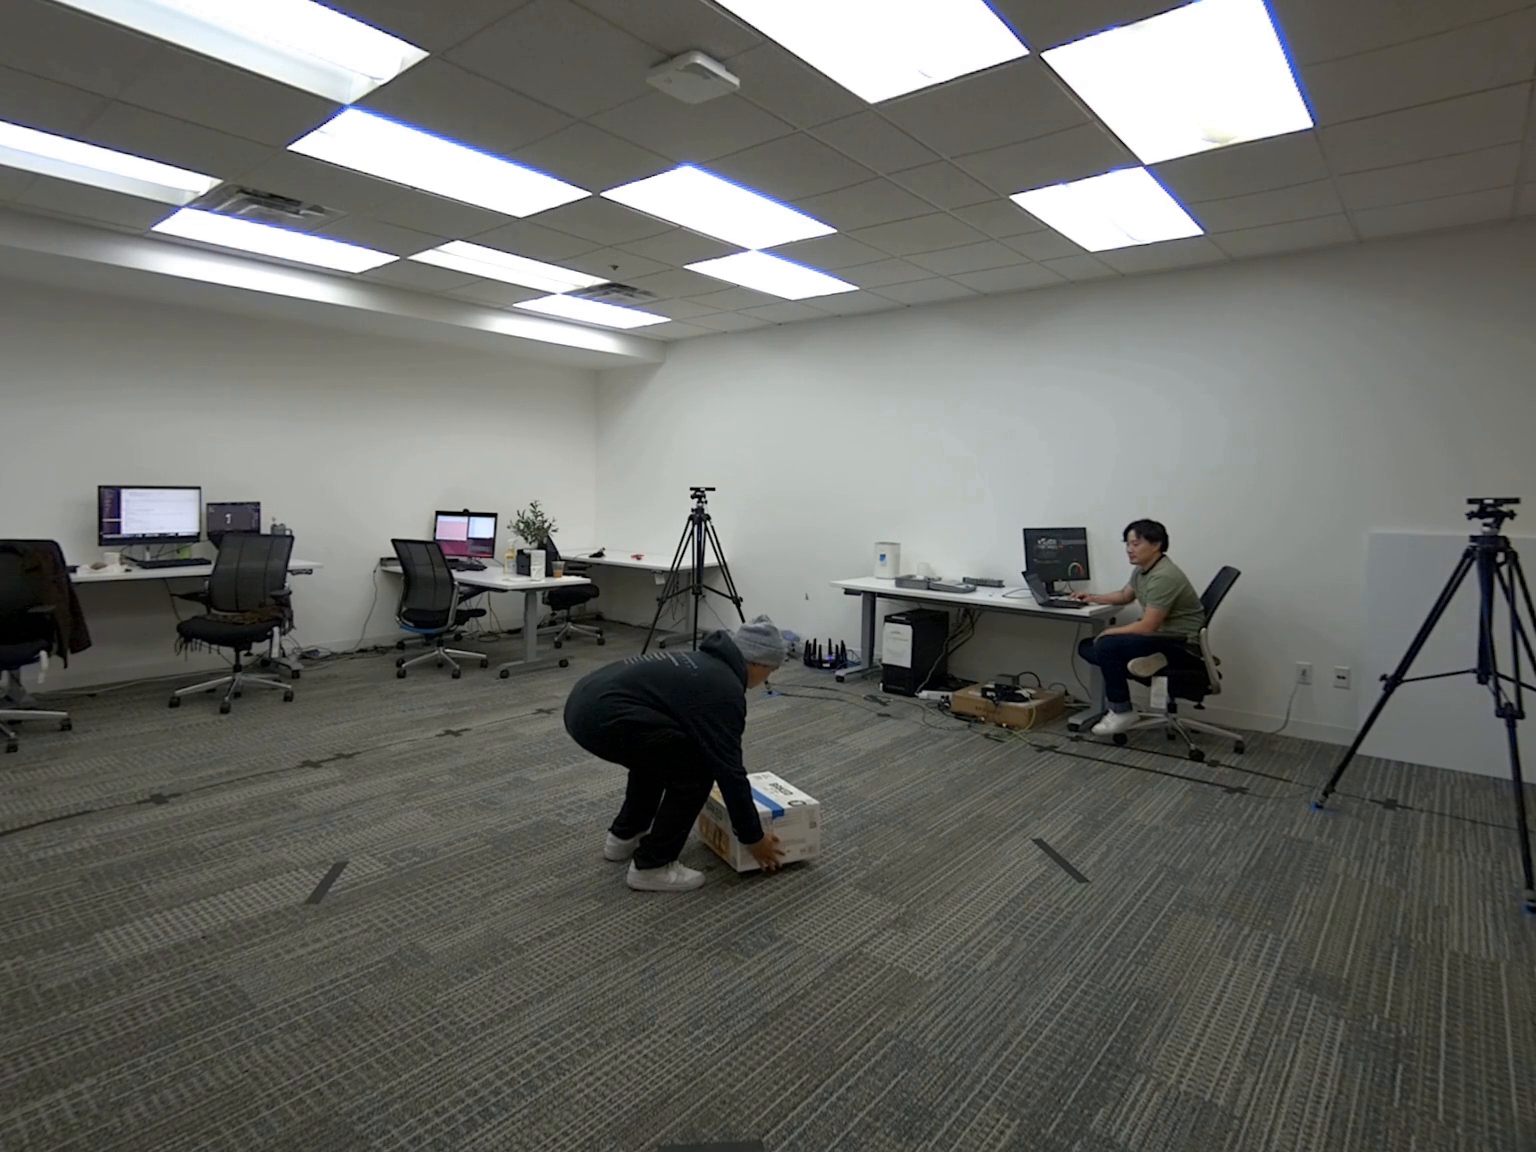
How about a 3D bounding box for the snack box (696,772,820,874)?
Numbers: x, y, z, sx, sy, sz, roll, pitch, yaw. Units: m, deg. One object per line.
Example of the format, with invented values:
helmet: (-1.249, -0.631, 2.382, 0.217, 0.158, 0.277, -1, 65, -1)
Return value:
snack box: (-0.059, 0.929, 3.235, 0.332, 0.205, 0.416, -1, 4, -26)
